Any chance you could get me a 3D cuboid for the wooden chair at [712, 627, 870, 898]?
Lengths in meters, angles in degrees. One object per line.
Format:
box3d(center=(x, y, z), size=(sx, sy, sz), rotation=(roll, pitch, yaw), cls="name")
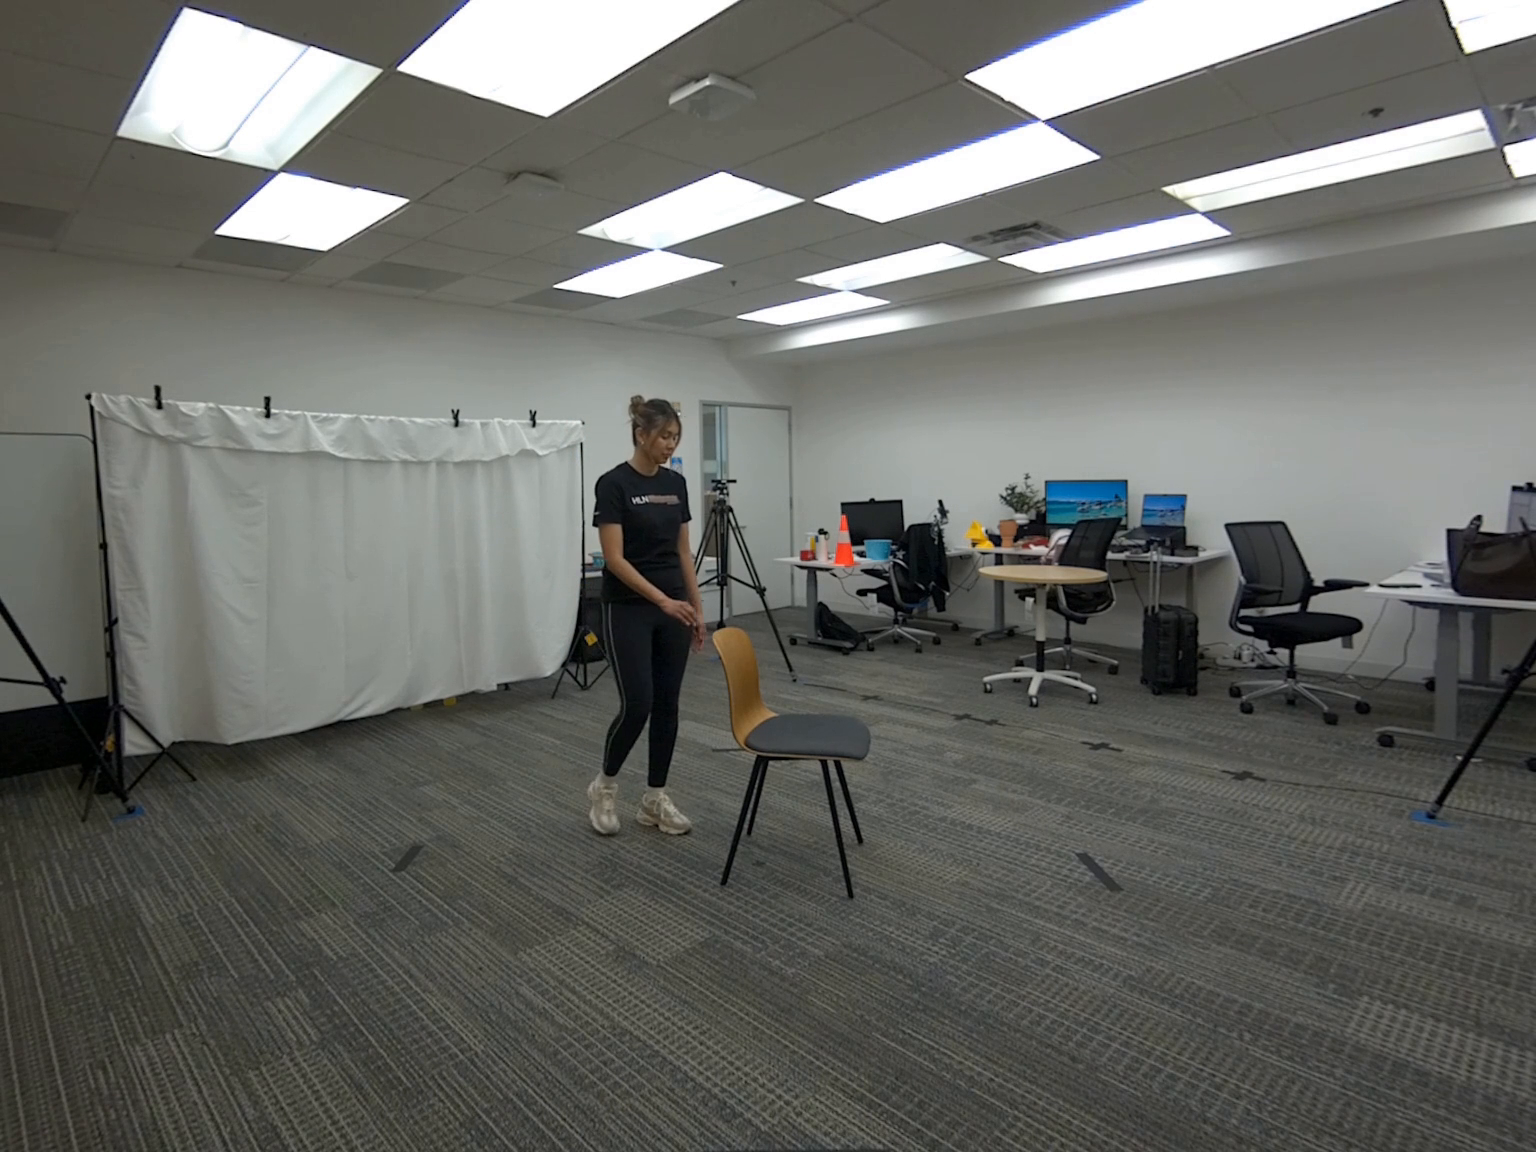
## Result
box3d(center=(0.104, 0.620, 3.074), size=(0.530, 0.875, 0.473), rotation=(-4, 3, 13), cls="wooden chair")
